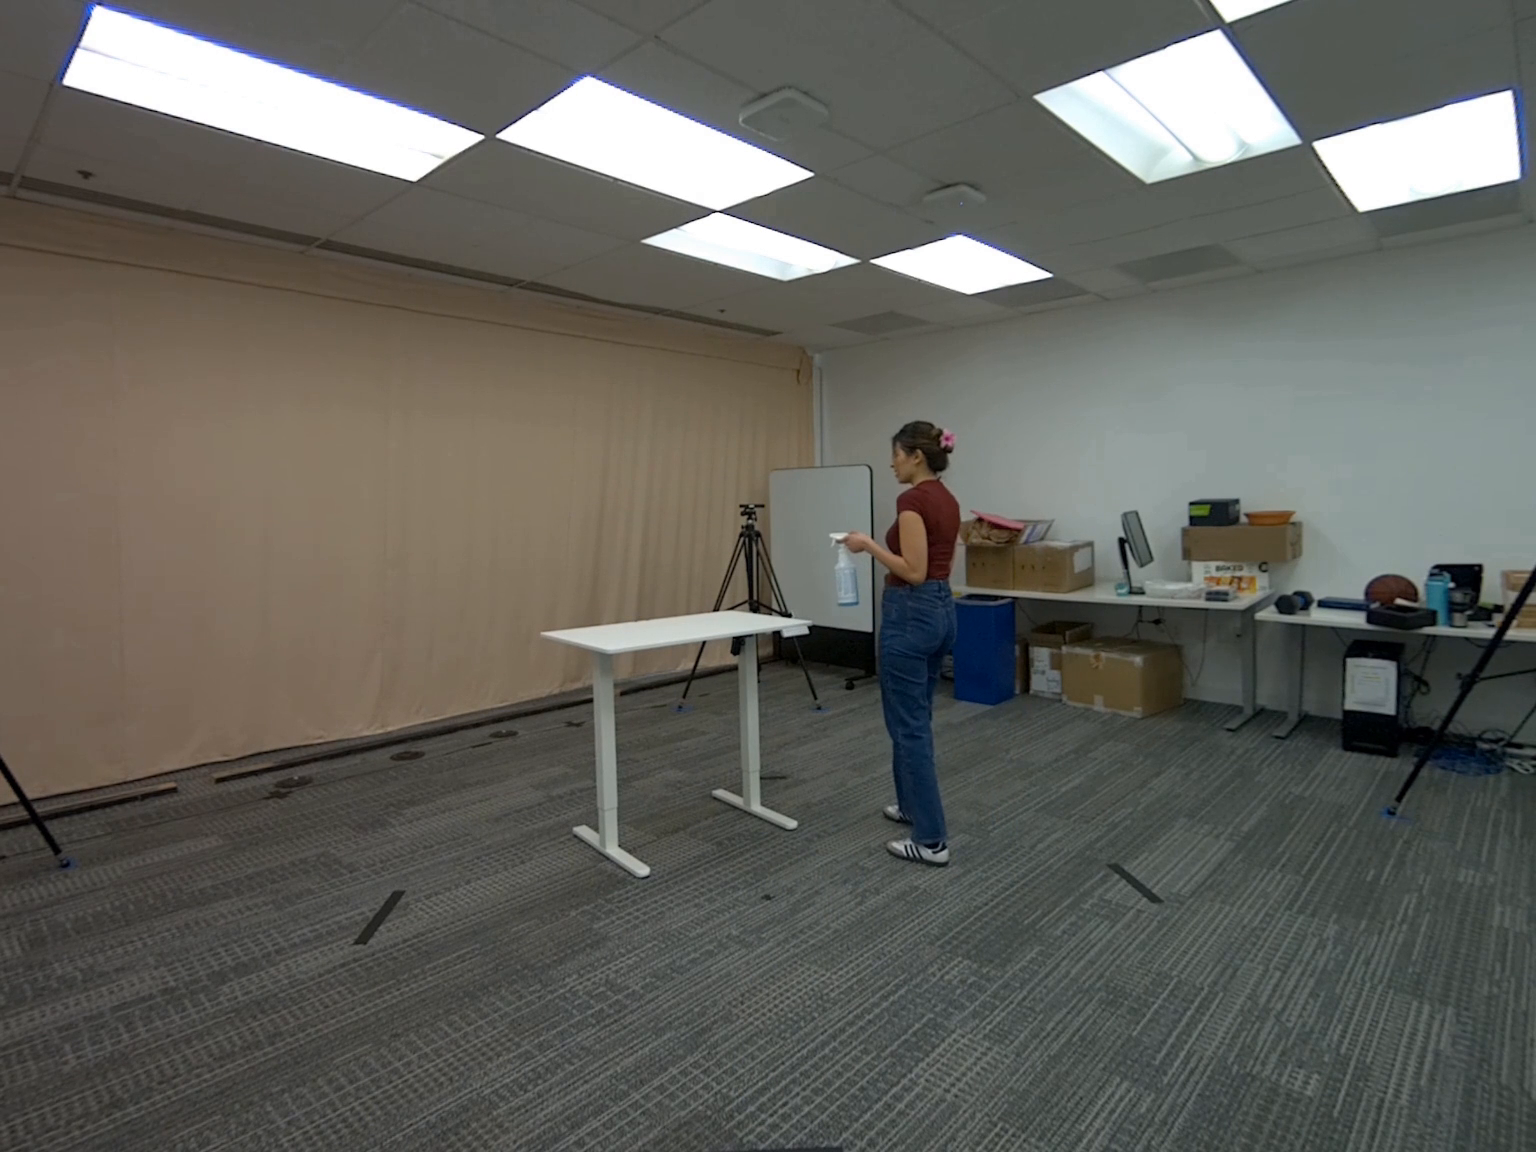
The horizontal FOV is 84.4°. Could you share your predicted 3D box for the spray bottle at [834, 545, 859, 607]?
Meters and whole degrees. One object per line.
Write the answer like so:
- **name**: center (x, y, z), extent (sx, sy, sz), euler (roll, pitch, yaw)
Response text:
- **spray bottle**: center (0.323, -0.024, 3.427), extent (0.092, 0.298, 0.084), euler (-7, -2, 30)
